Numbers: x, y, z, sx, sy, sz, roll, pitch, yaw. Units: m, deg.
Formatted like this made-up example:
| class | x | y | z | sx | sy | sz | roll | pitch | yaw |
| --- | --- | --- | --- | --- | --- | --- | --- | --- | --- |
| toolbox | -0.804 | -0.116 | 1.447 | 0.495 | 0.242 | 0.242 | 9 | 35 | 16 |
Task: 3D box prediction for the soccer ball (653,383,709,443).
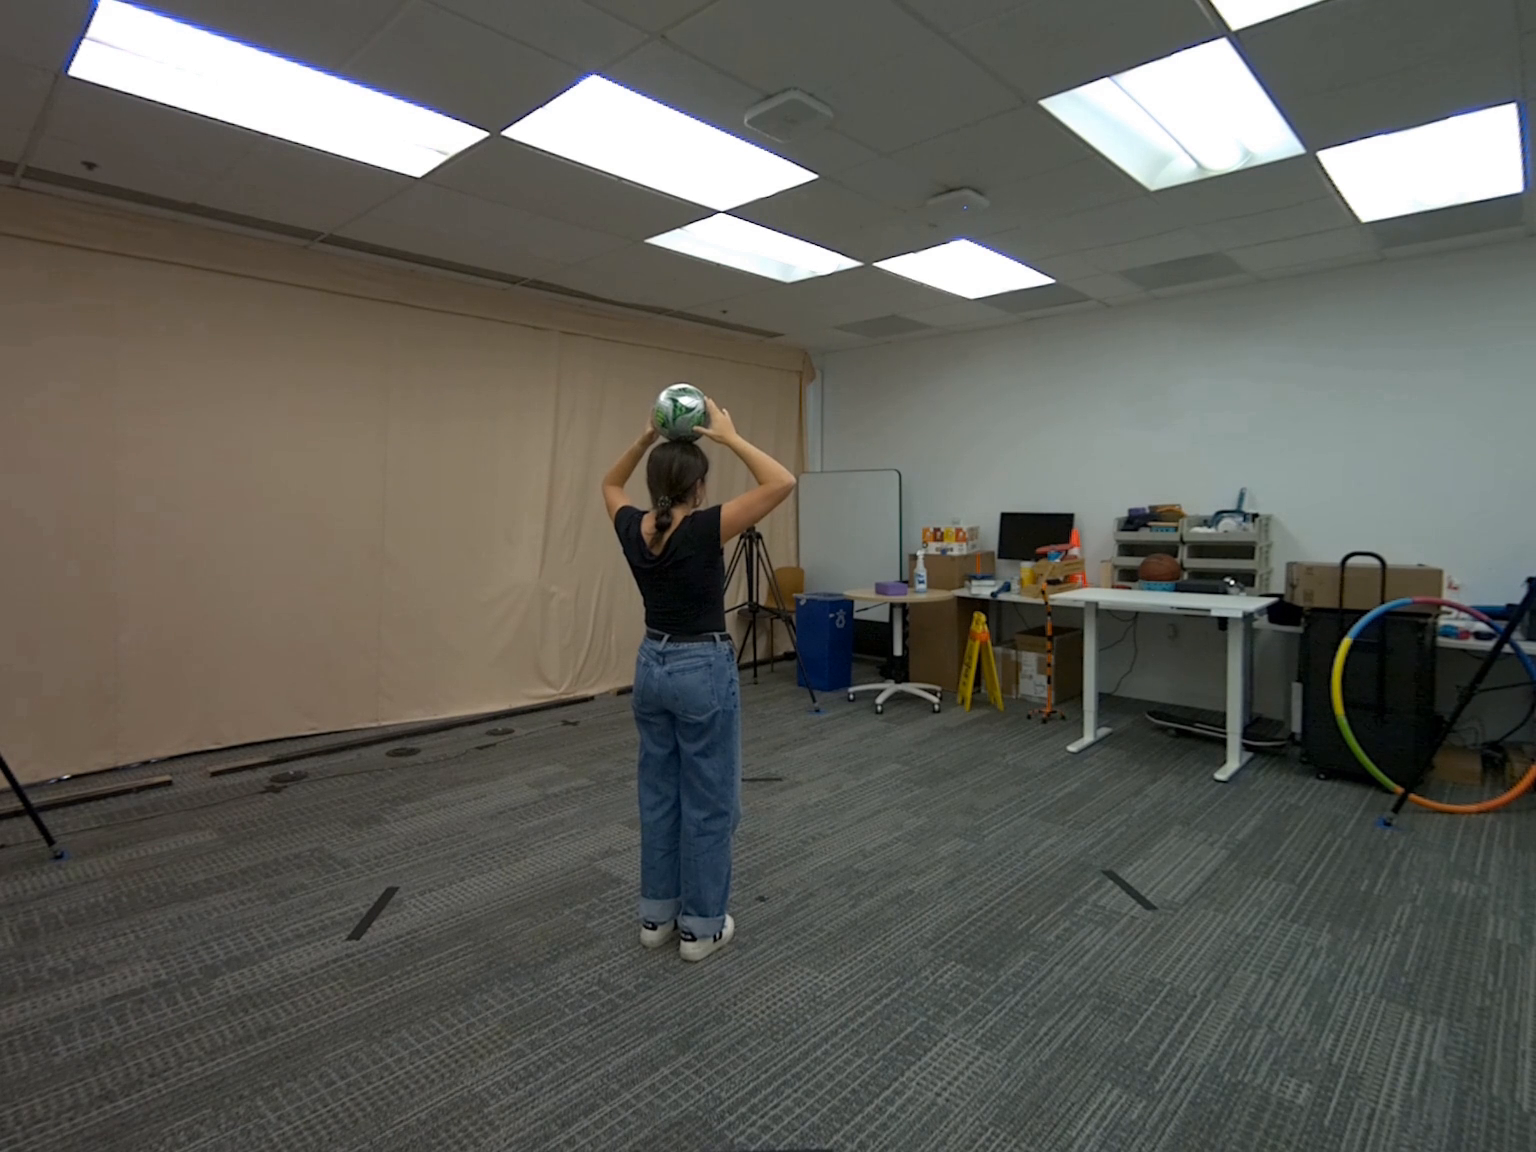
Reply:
| class | x | y | z | sx | sy | sz | roll | pitch | yaw |
| --- | --- | --- | --- | --- | --- | --- | --- | --- | --- |
| soccer ball | -0.259 | -0.506 | 2.638 | 0.187 | 0.187 | 0.188 | 0 | 4 | -2 |
